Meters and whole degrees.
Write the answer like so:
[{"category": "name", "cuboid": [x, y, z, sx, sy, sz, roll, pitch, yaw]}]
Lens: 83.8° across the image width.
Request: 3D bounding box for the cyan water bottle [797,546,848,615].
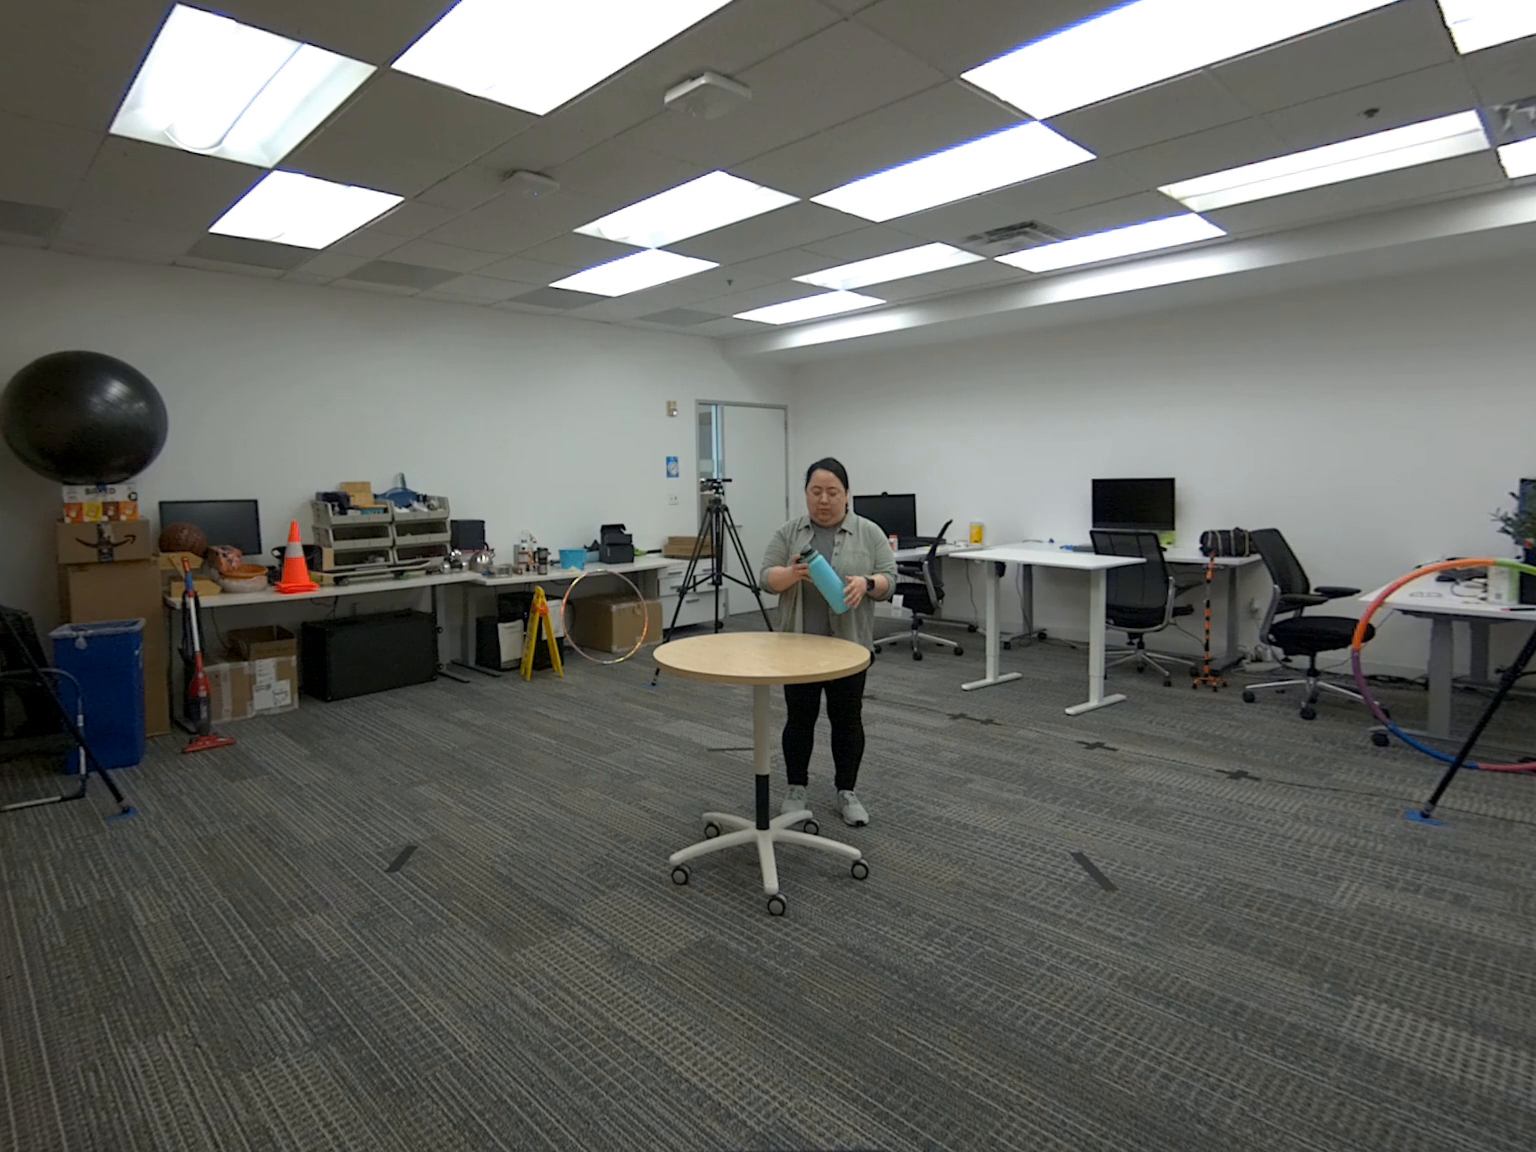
[{"category": "cyan water bottle", "cuboid": [0.226, 0.016, 3.259, 0.092, 0.281, 0.093, -35, 6, 3]}]
